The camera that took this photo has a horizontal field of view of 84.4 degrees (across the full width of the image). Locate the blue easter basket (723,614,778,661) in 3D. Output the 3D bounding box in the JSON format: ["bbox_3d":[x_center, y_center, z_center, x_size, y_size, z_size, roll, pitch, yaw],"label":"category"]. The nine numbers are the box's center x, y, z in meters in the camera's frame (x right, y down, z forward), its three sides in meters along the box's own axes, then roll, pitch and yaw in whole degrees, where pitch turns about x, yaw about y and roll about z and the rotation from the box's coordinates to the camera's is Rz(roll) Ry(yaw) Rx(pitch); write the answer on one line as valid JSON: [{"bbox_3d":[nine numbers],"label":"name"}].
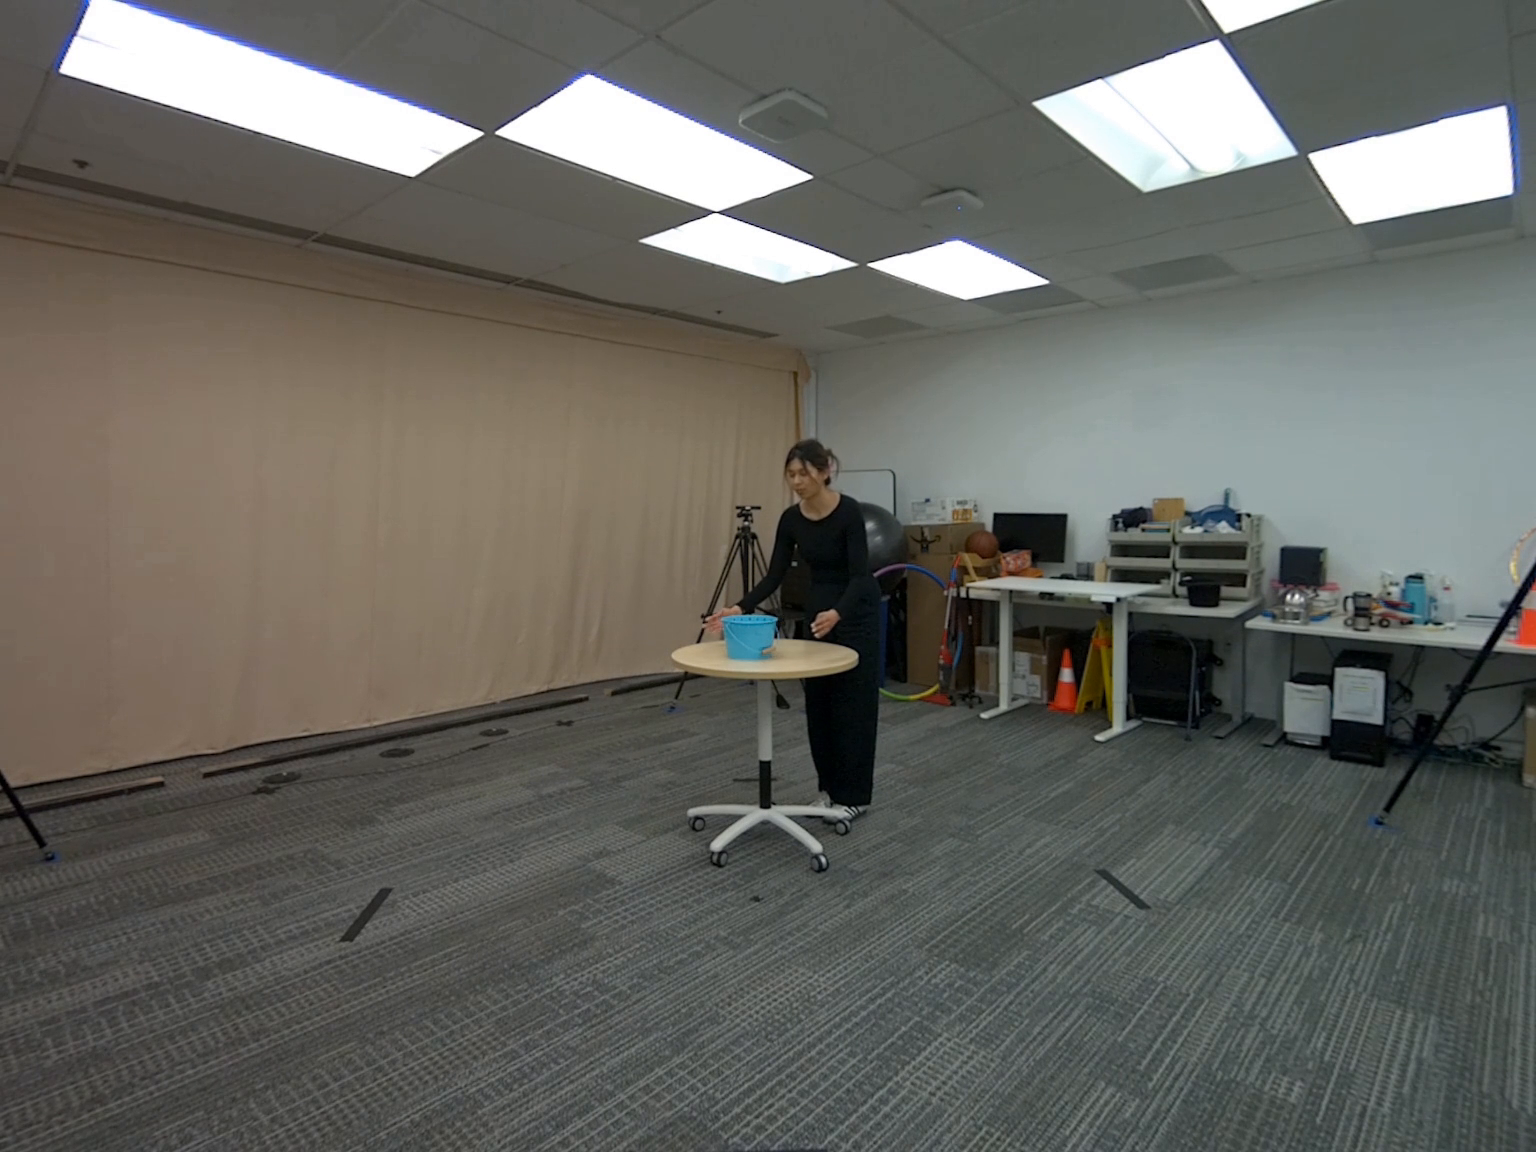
[{"bbox_3d":[-0.071,0.254,3.416,0.243,0.155,0.244,0,3,-2],"label":"blue easter basket"}]
